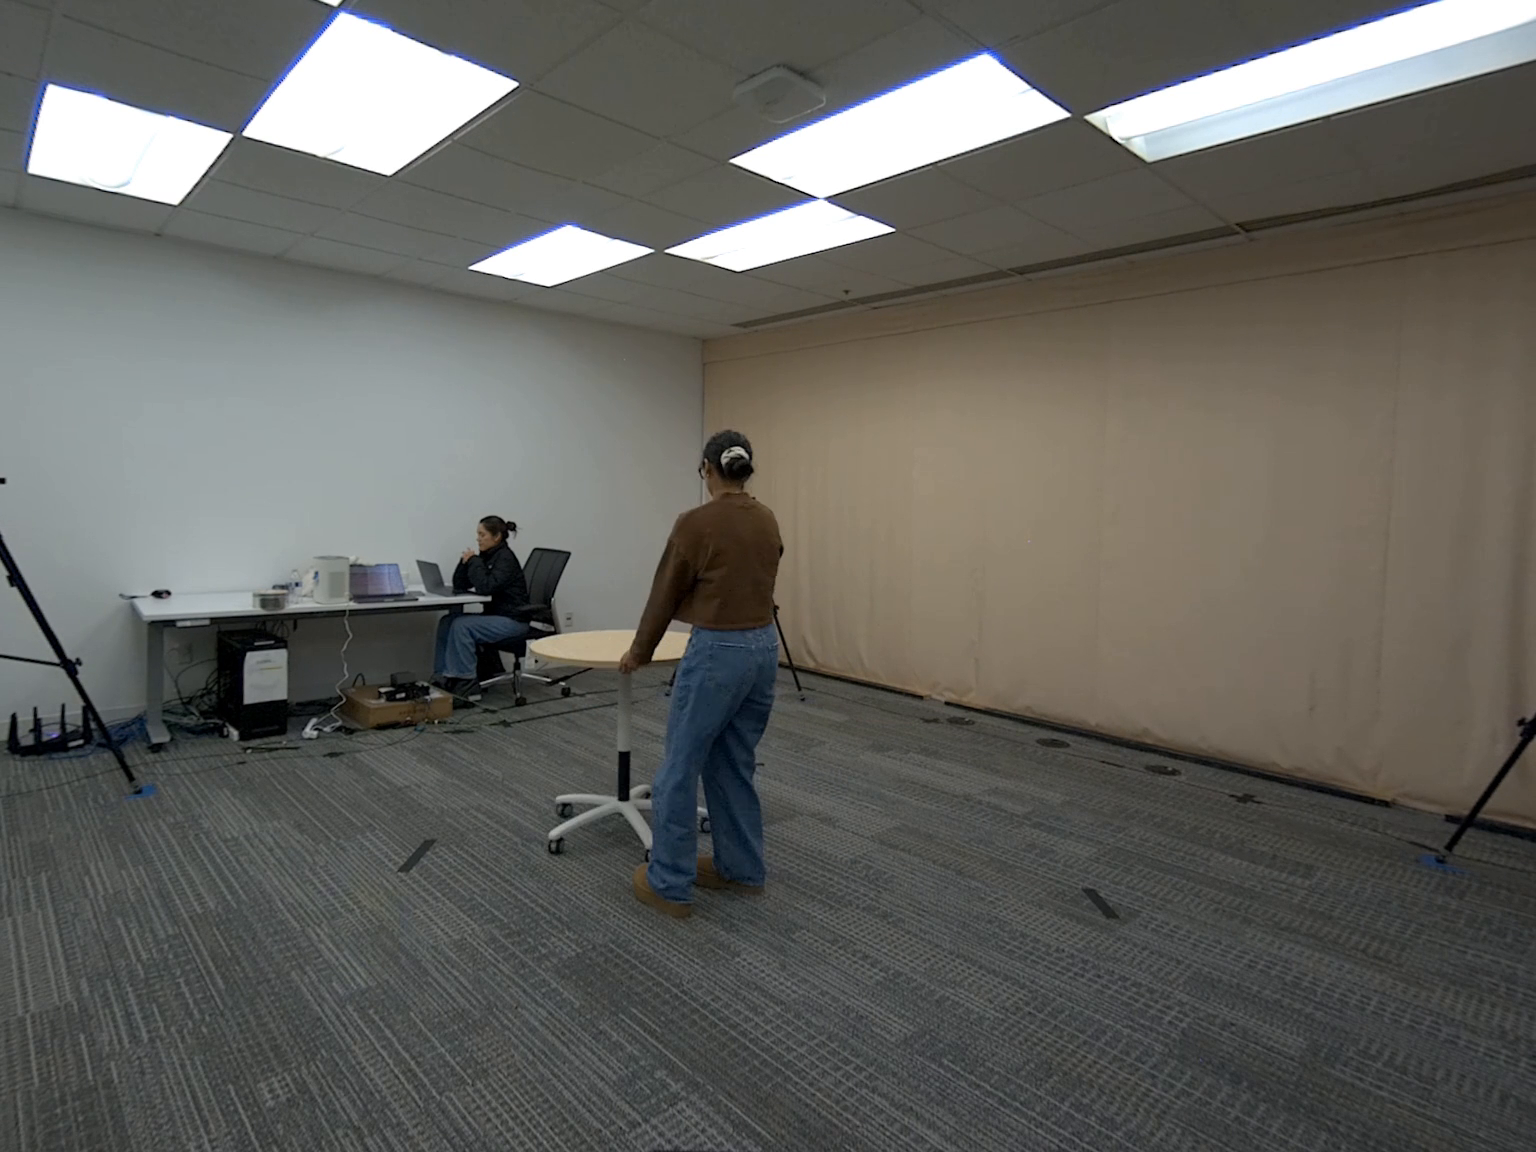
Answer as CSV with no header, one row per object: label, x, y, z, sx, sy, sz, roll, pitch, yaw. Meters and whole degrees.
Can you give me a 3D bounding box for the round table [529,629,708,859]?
round table,-0.571,0.670,3.454,0.784,0.784,0.787,0,4,-1
